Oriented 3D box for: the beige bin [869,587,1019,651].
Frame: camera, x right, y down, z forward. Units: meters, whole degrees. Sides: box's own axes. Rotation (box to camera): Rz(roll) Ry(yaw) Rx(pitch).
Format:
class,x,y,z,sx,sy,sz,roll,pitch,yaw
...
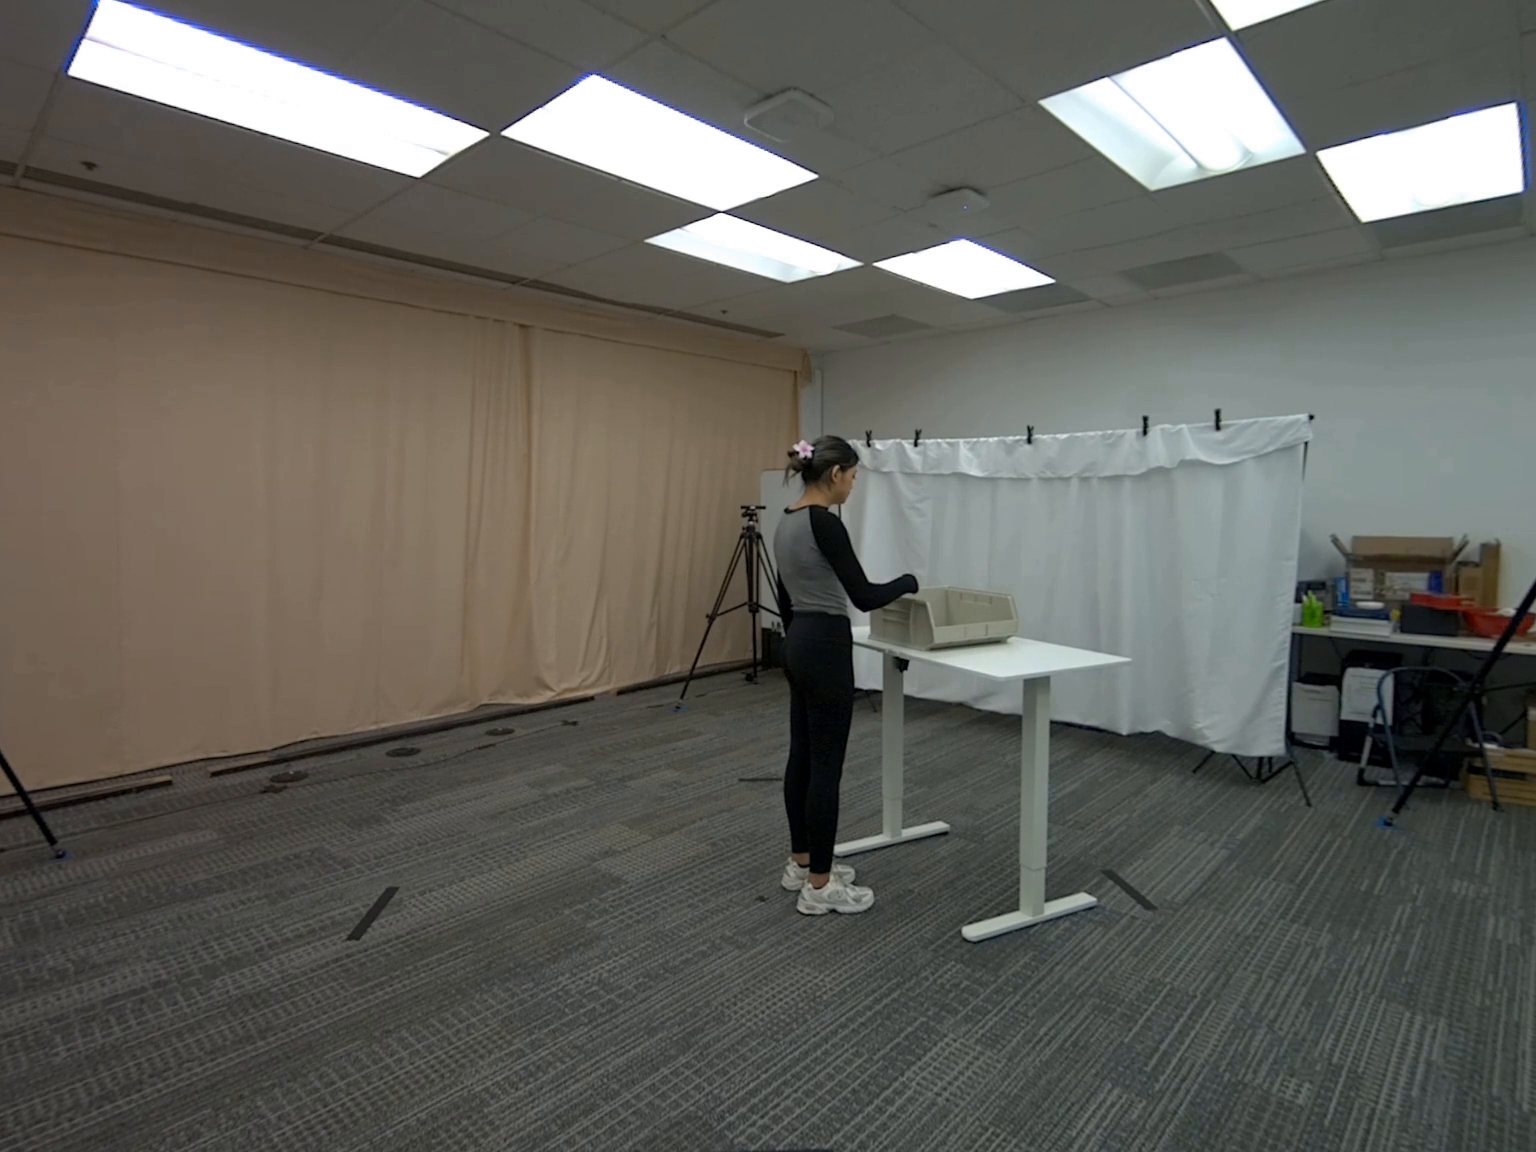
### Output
class,x,y,z,sx,sy,sz,roll,pitch,yaw
beige bin,0.657,0.161,3.145,0.411,0.188,0.388,-4,5,-30
